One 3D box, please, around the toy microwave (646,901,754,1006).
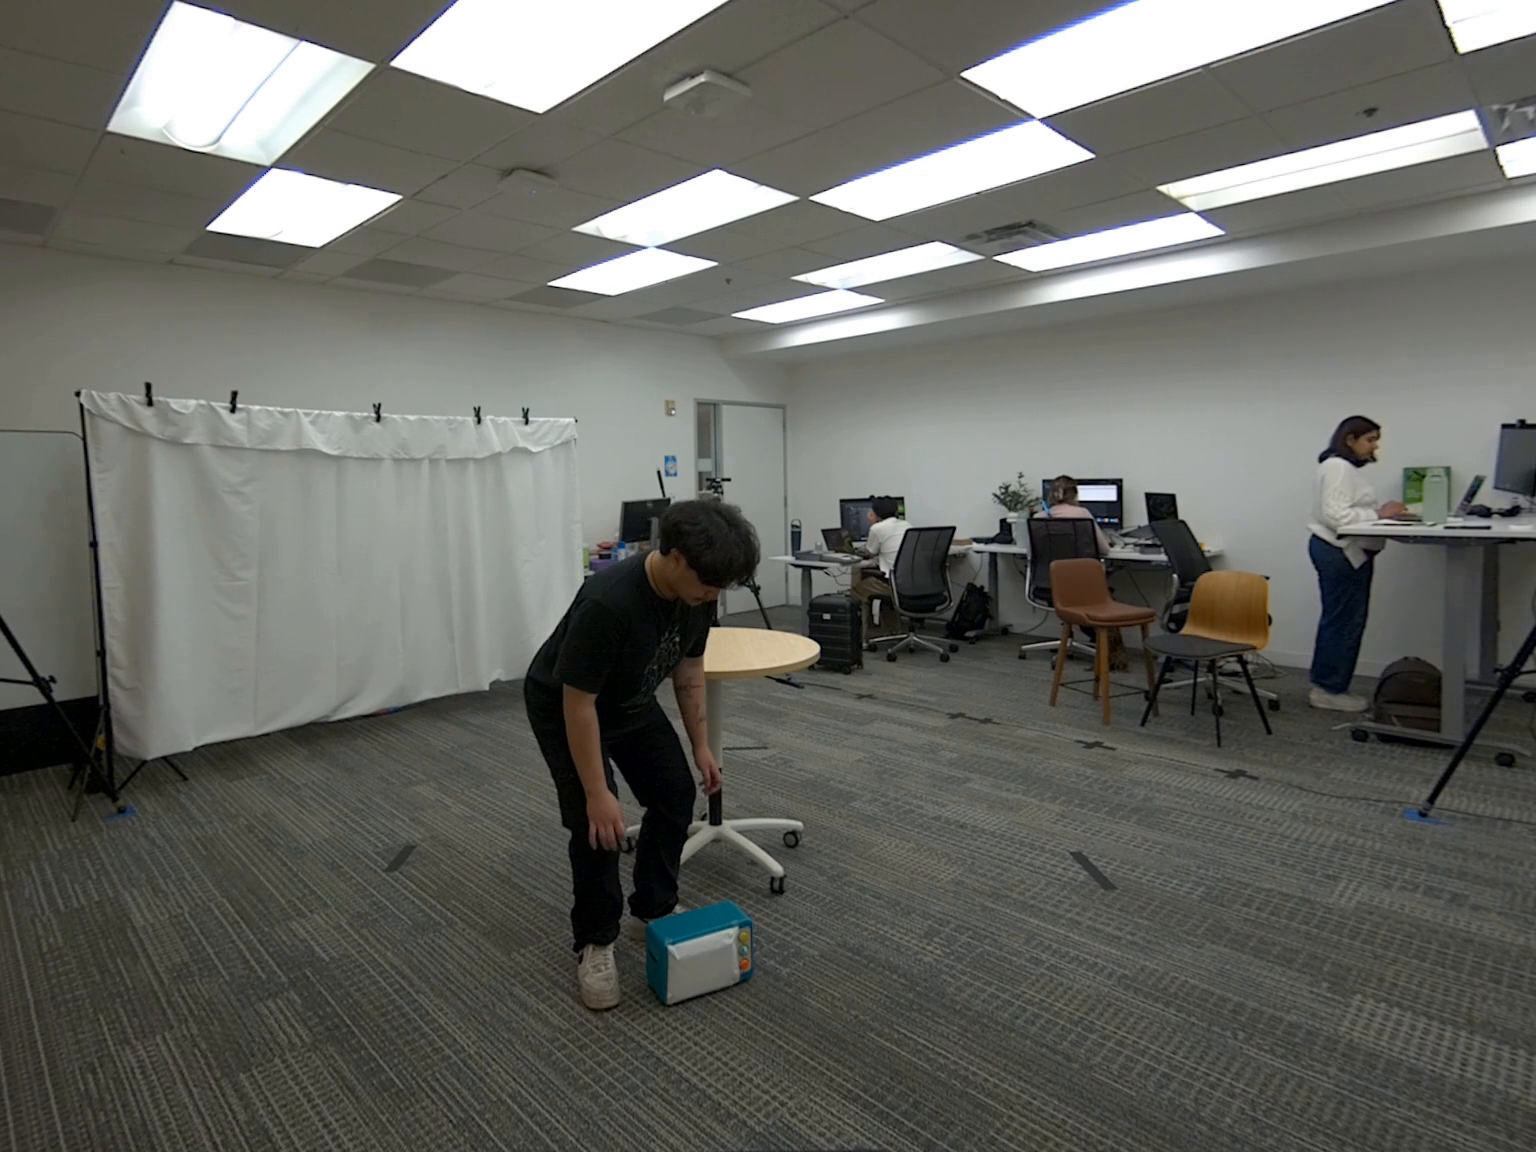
[{"bbox_3d":[-0.189,1.037,2.370,0.280,0.183,0.156,-5,7,-28],"label":"toy microwave"}]
